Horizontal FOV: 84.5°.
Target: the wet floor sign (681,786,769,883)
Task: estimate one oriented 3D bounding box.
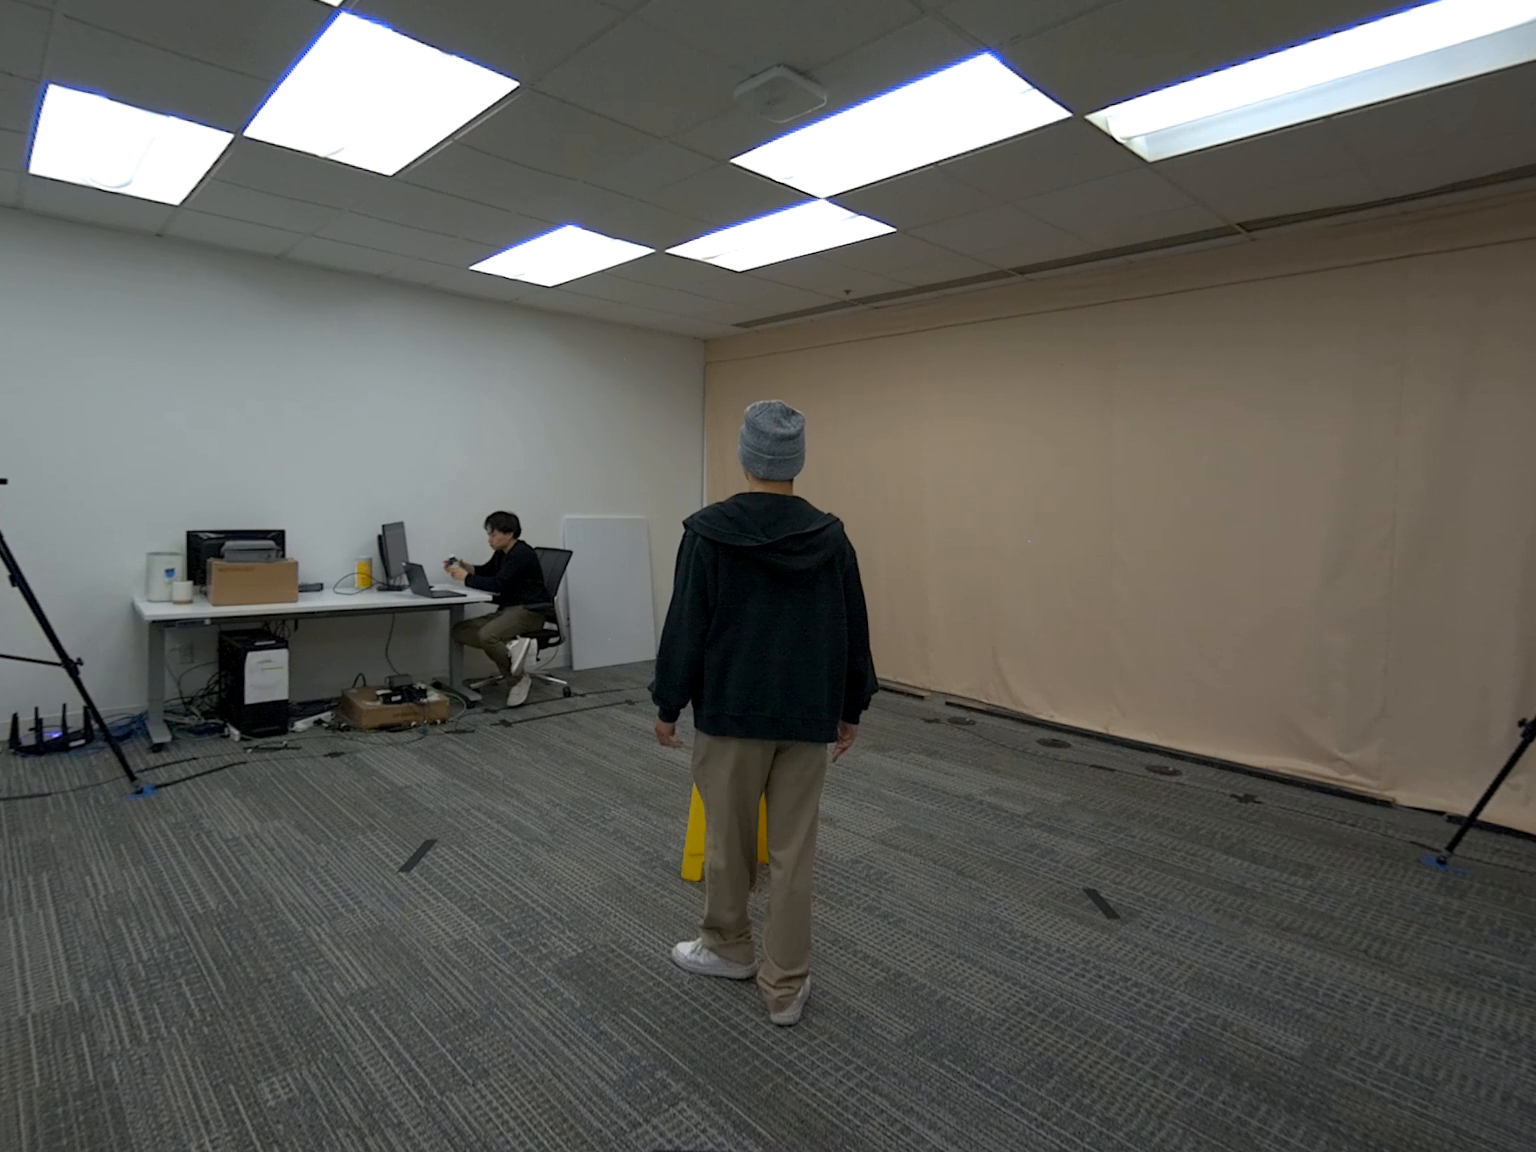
[{"bbox_3d":[-0.141,0.784,3.134,0.287,0.644,0.285,4,3,20],"label":"wet floor sign"}]
